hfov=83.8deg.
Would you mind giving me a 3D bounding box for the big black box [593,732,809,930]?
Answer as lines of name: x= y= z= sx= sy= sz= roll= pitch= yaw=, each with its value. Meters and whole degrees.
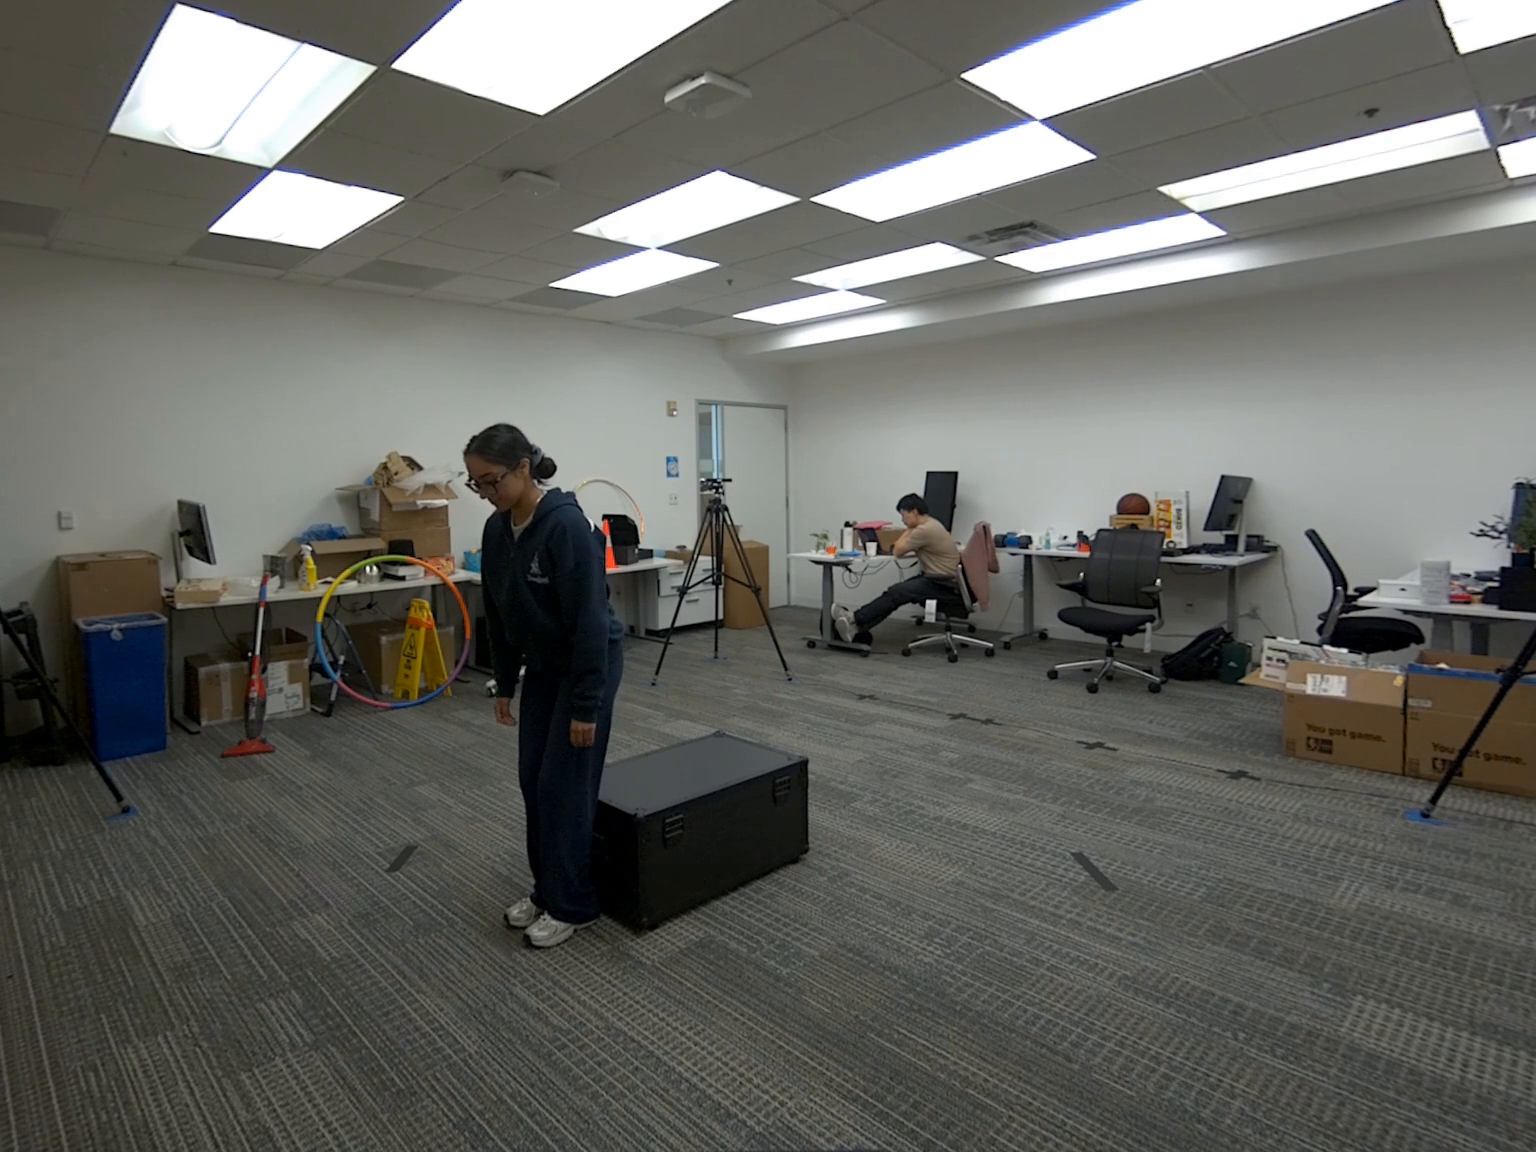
big black box: x=-0.266 y=0.864 z=3.059 sx=0.840 sy=0.394 sz=0.537 roll=-8 pitch=9 yaw=-44
